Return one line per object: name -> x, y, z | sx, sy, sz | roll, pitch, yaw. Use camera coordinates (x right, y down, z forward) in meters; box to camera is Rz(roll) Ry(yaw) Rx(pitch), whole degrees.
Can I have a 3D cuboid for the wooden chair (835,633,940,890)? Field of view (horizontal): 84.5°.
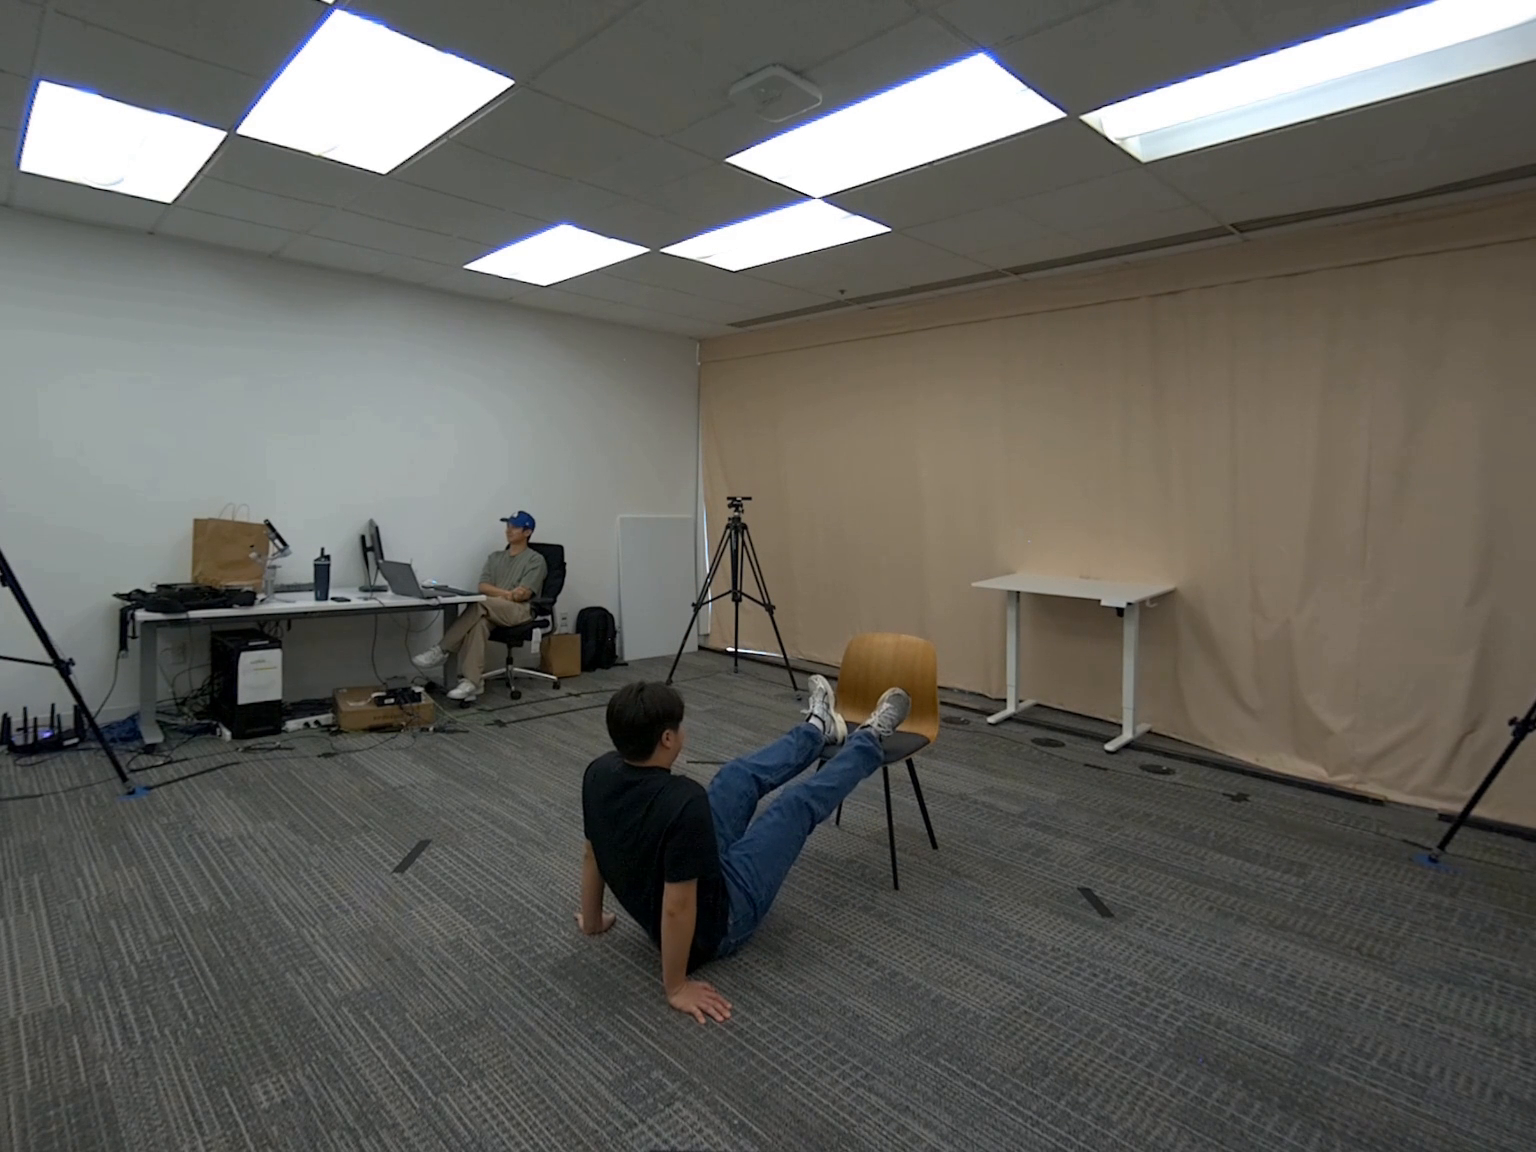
wooden chair -> 0.383, 0.675, 3.292 | 0.489, 0.878, 0.511 | 3, 0, 31
